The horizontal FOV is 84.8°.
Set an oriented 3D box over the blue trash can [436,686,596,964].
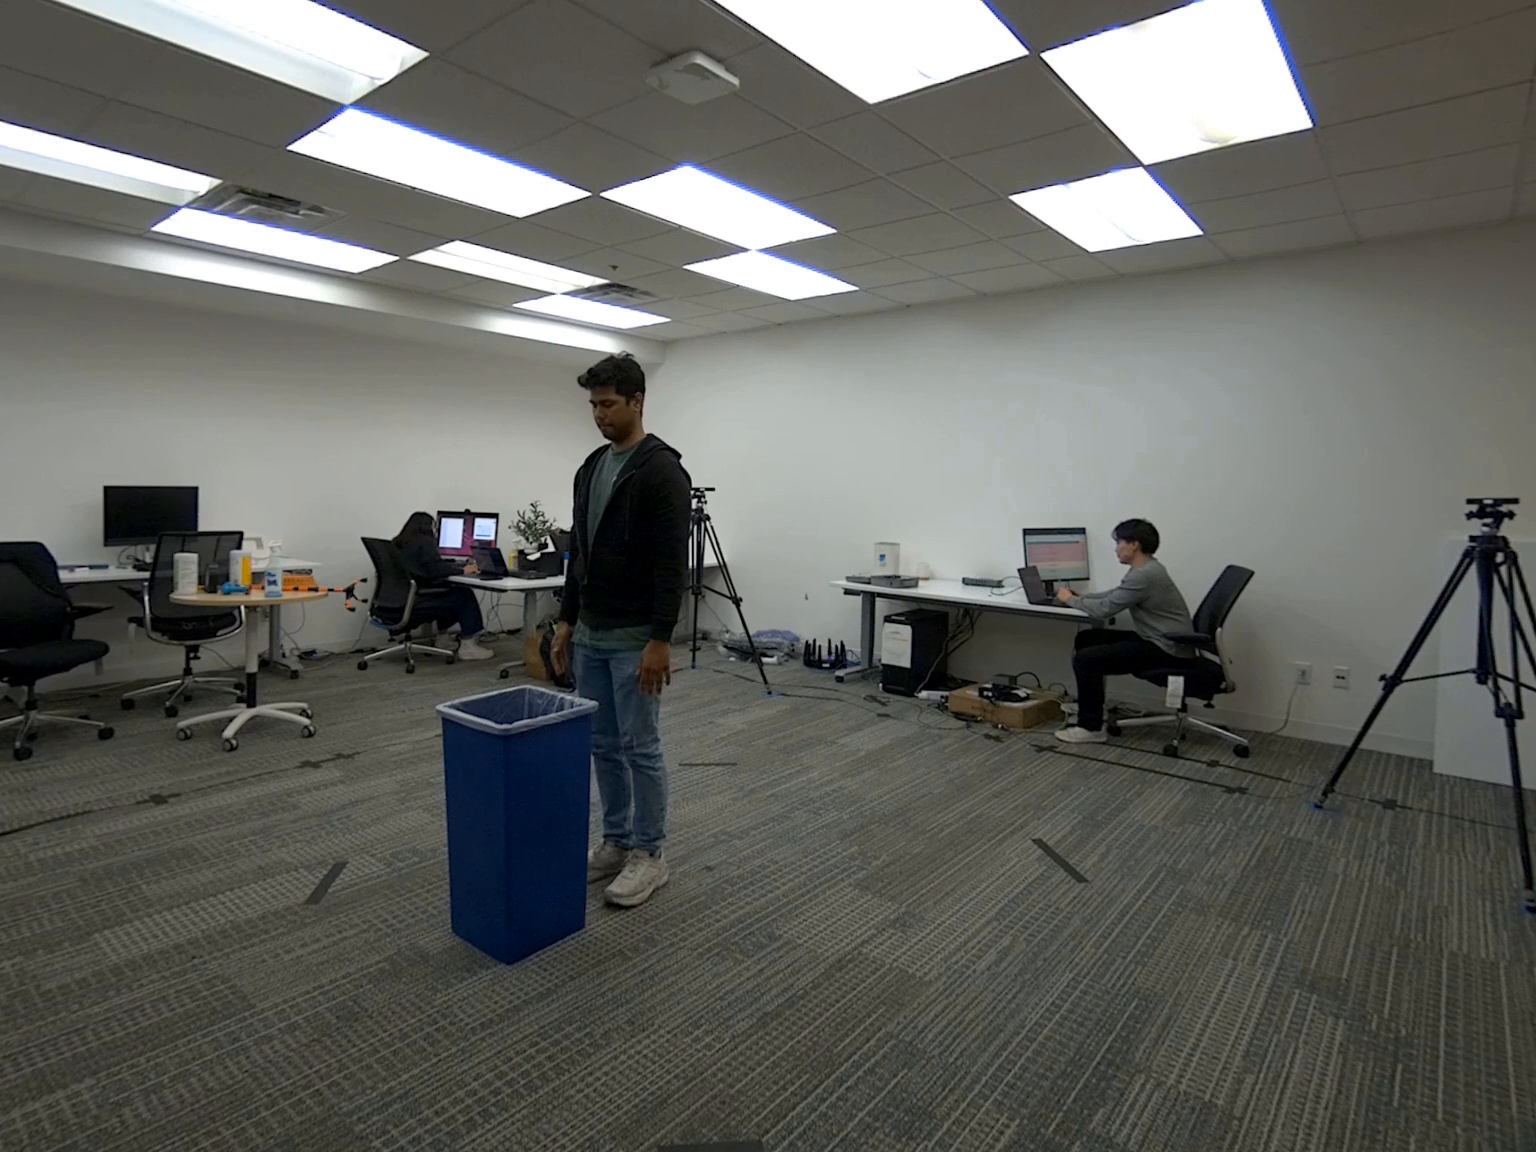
[{"bbox_3d":[-0.785,0.748,2.634,0.390,0.712,0.363,3,4,38],"label":"blue trash can"}]
